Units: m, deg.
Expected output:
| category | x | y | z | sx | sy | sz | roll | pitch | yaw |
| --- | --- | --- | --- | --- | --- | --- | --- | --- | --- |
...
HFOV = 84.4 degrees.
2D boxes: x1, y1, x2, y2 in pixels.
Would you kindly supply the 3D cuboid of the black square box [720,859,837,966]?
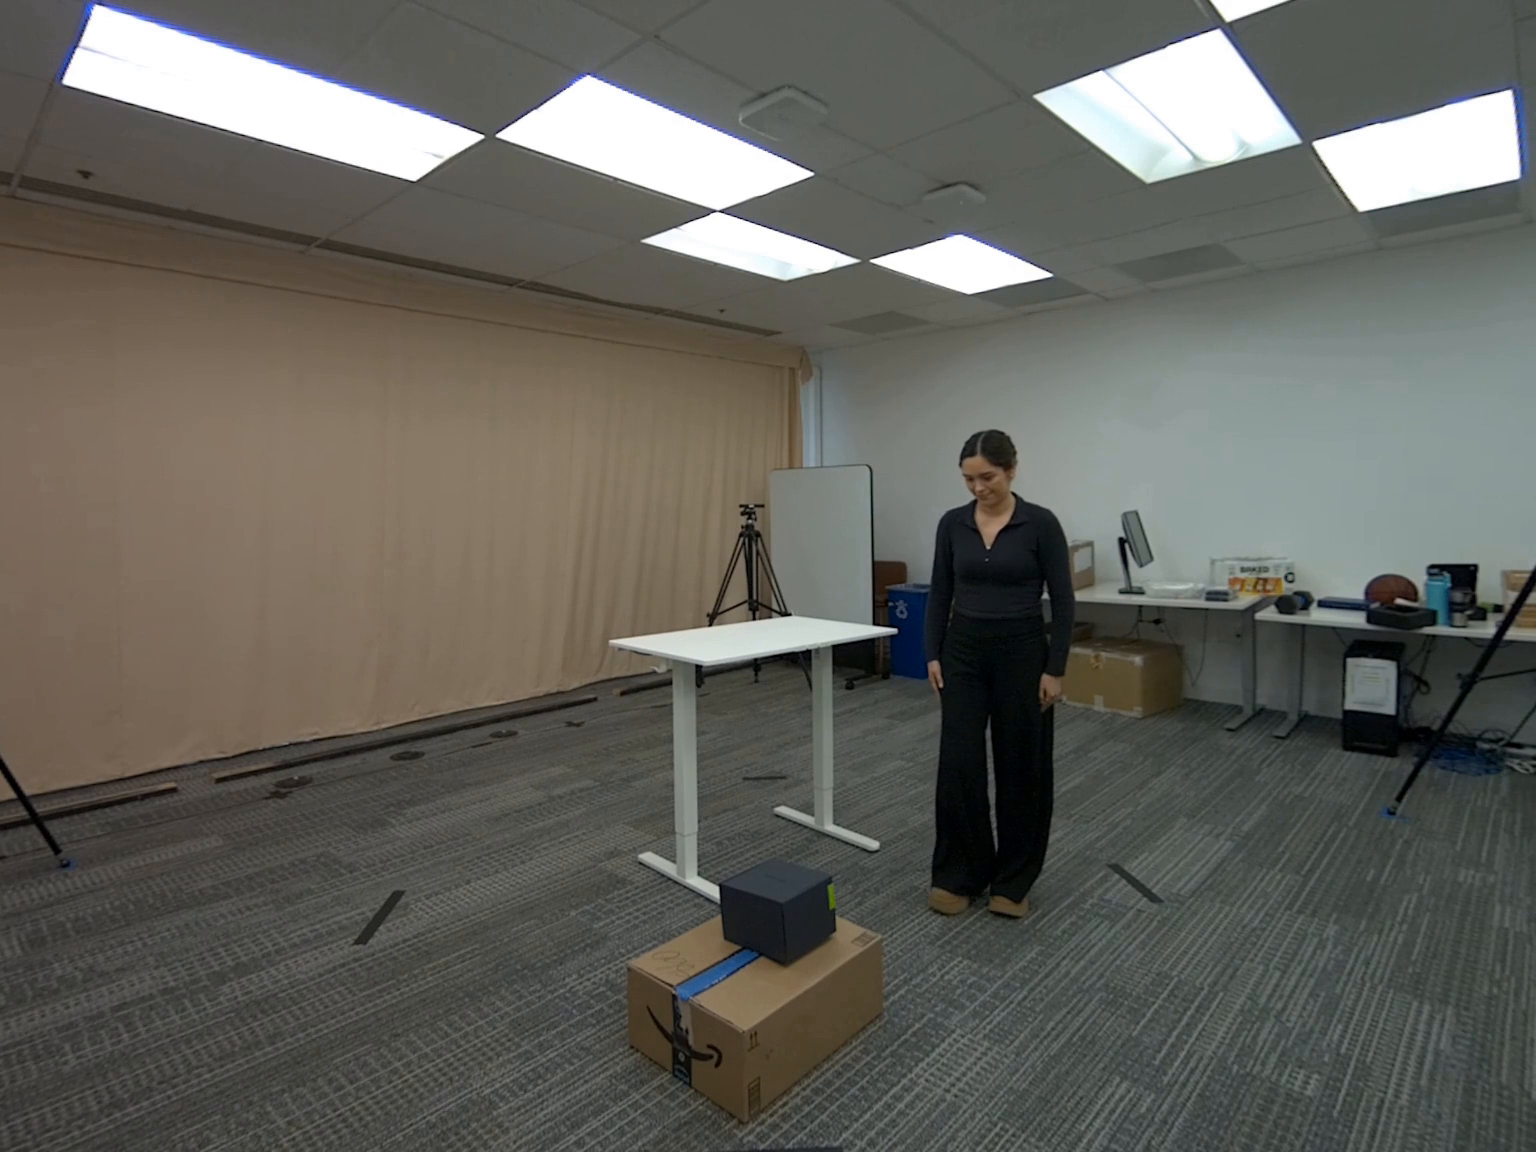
| category | x | y | z | sx | sy | sz | roll | pitch | yaw |
| --- | --- | --- | --- | --- | --- | --- | --- | --- | --- |
| black square box | 0.033 | 0.895 | 2.274 | 0.235 | 0.156 | 0.210 | -3 | 2 | 43 |
